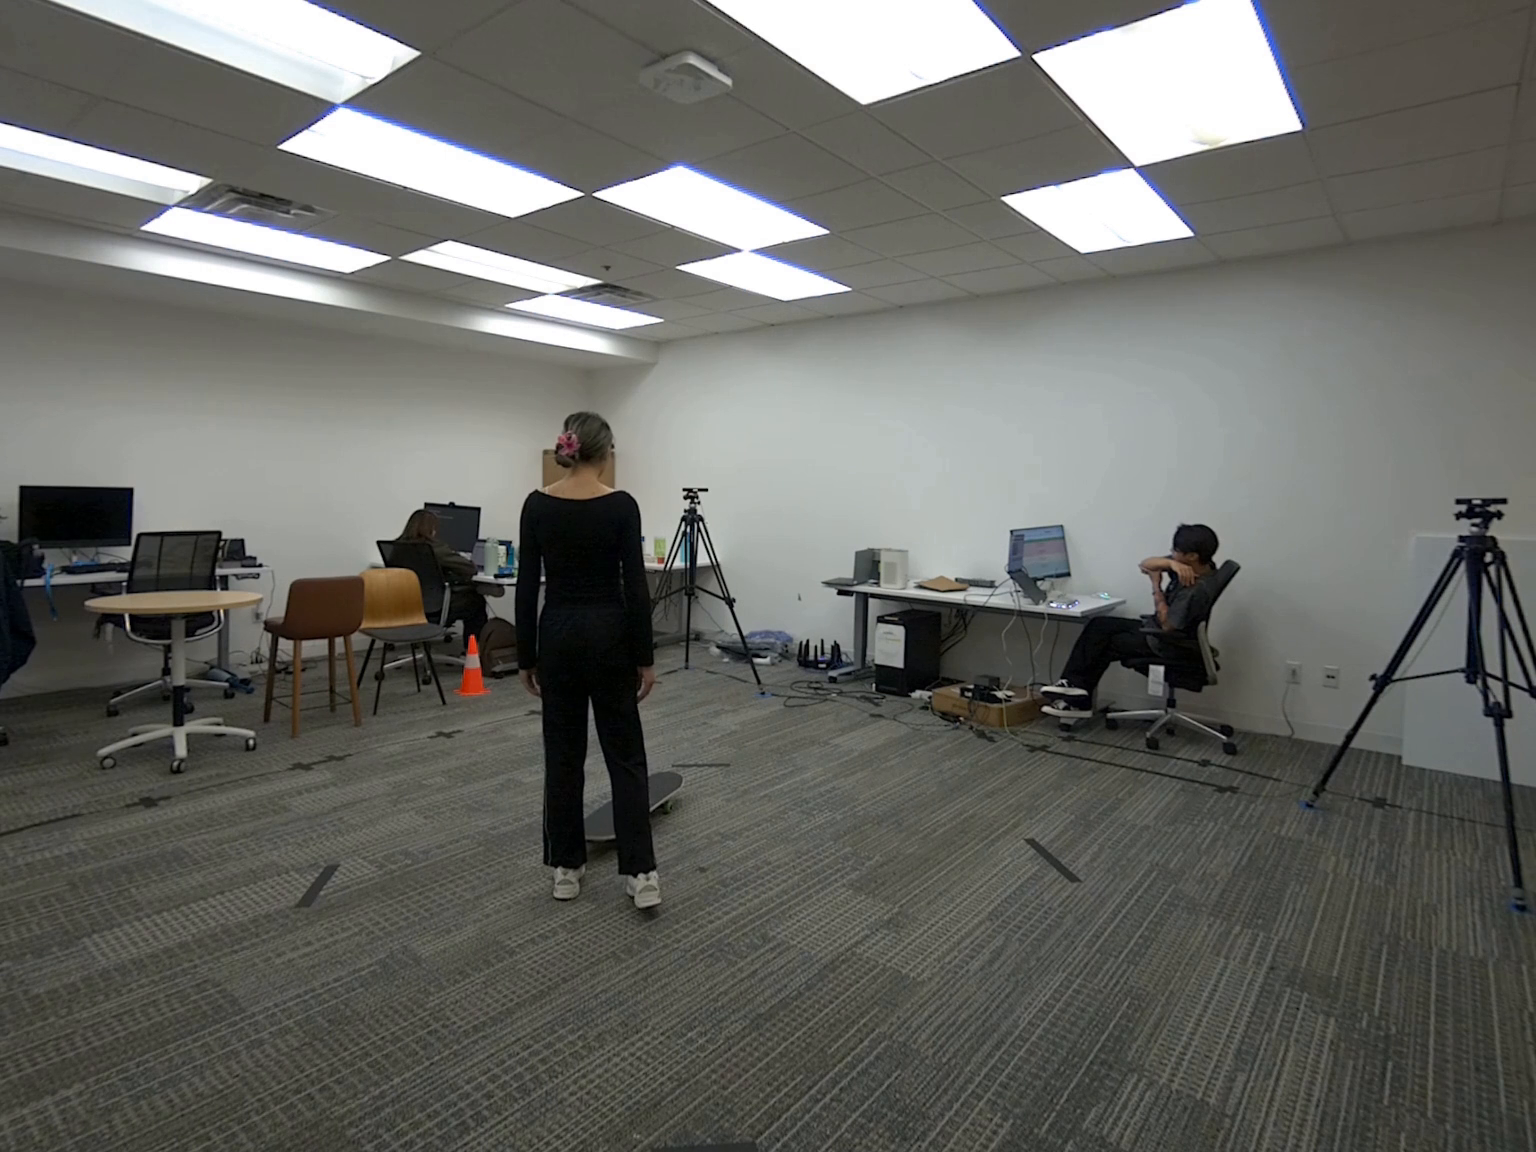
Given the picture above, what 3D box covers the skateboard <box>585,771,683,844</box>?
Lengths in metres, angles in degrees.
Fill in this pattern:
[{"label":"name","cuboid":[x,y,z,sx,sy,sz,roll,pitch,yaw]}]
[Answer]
[{"label":"skateboard","cuboid":[-0.578,0.975,3.497,0.198,0.110,0.771,2,6,20]}]
